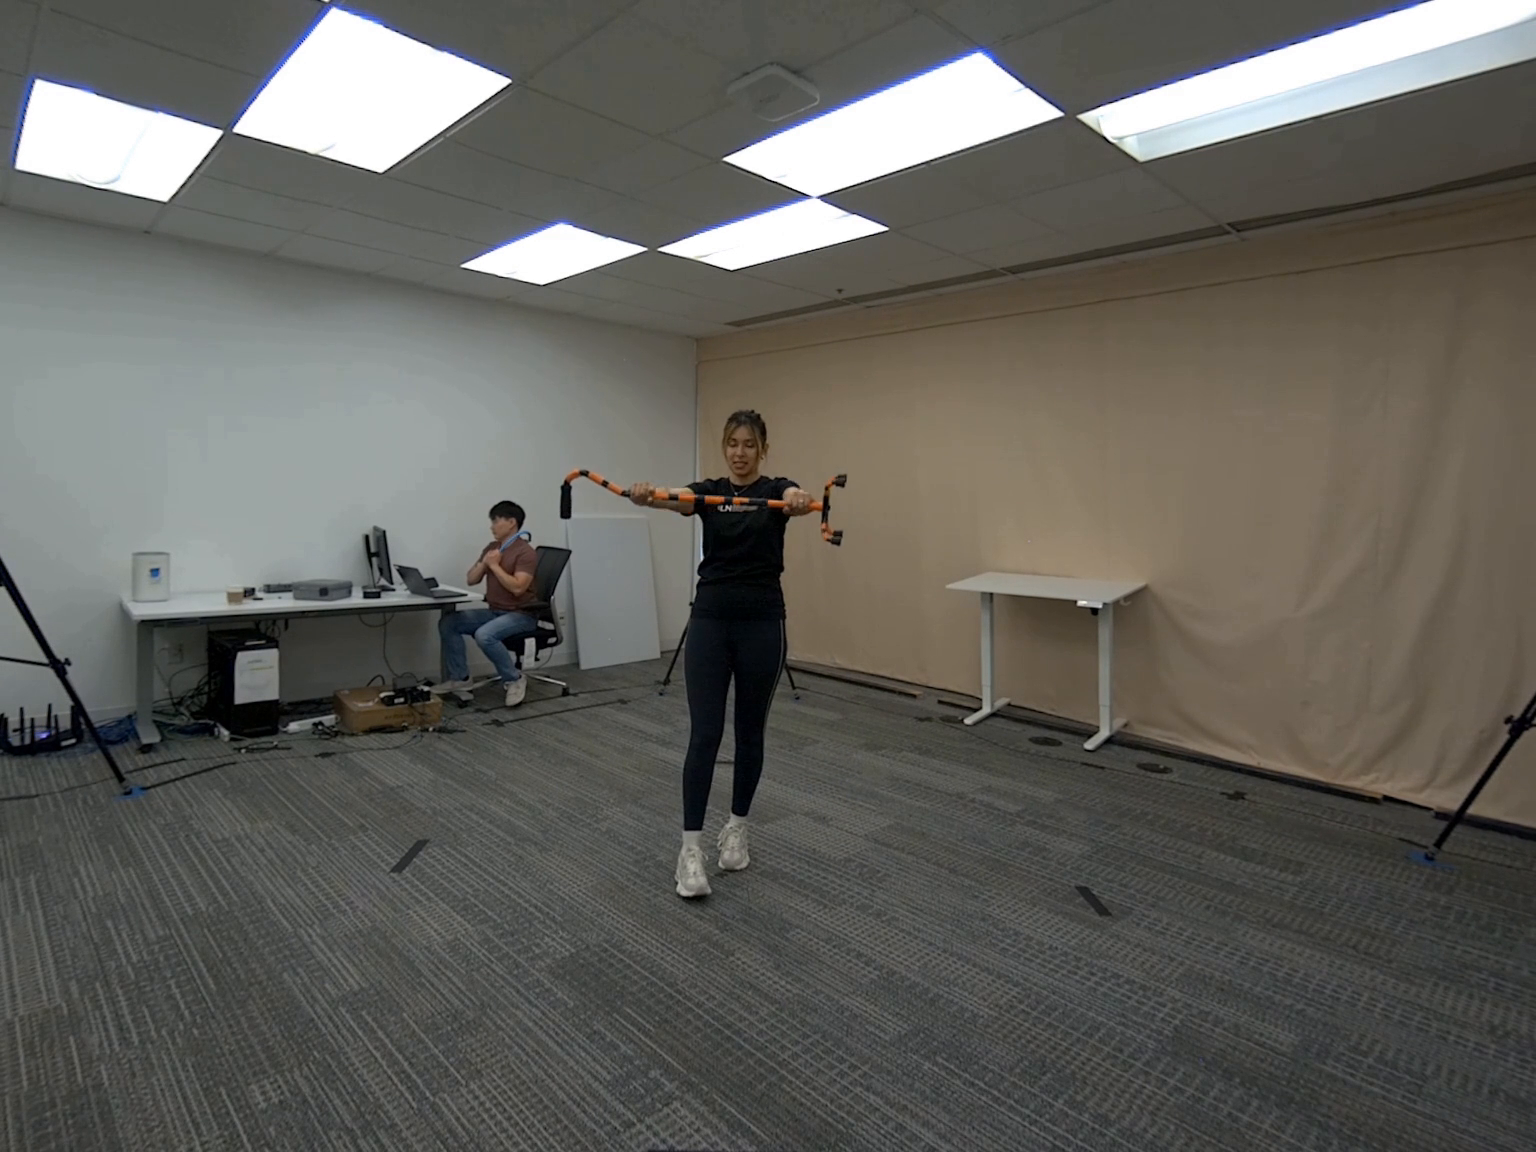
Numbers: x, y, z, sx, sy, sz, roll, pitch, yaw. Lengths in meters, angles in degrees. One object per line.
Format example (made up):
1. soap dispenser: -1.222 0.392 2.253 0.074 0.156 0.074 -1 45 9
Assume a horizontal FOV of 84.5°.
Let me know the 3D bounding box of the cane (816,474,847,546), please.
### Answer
1. cane: -0.215 -0.247 2.637 0.914 0.205 0.152 3 12 8
